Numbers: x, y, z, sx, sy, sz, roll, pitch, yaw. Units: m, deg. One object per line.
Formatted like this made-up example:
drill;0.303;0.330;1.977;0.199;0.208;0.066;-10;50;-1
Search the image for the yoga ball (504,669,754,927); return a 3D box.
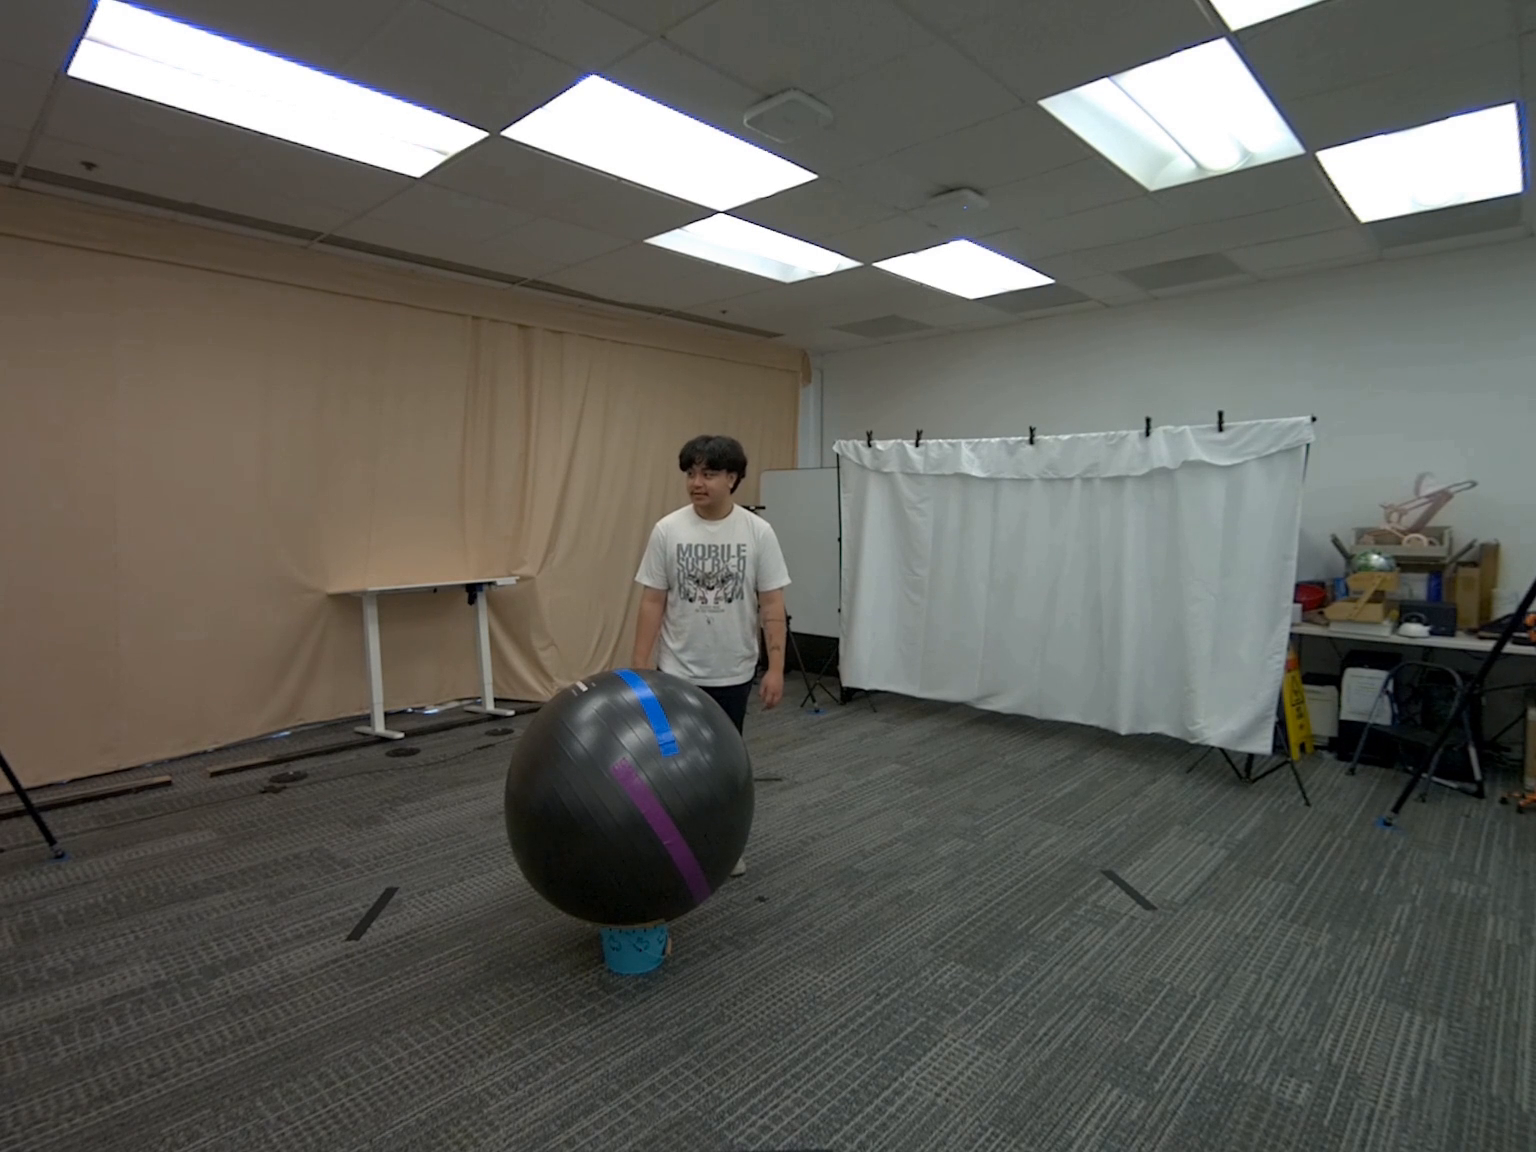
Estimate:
yoga ball;-0.418;0.669;2.579;0.757;0.756;0.760;0;4;-2
